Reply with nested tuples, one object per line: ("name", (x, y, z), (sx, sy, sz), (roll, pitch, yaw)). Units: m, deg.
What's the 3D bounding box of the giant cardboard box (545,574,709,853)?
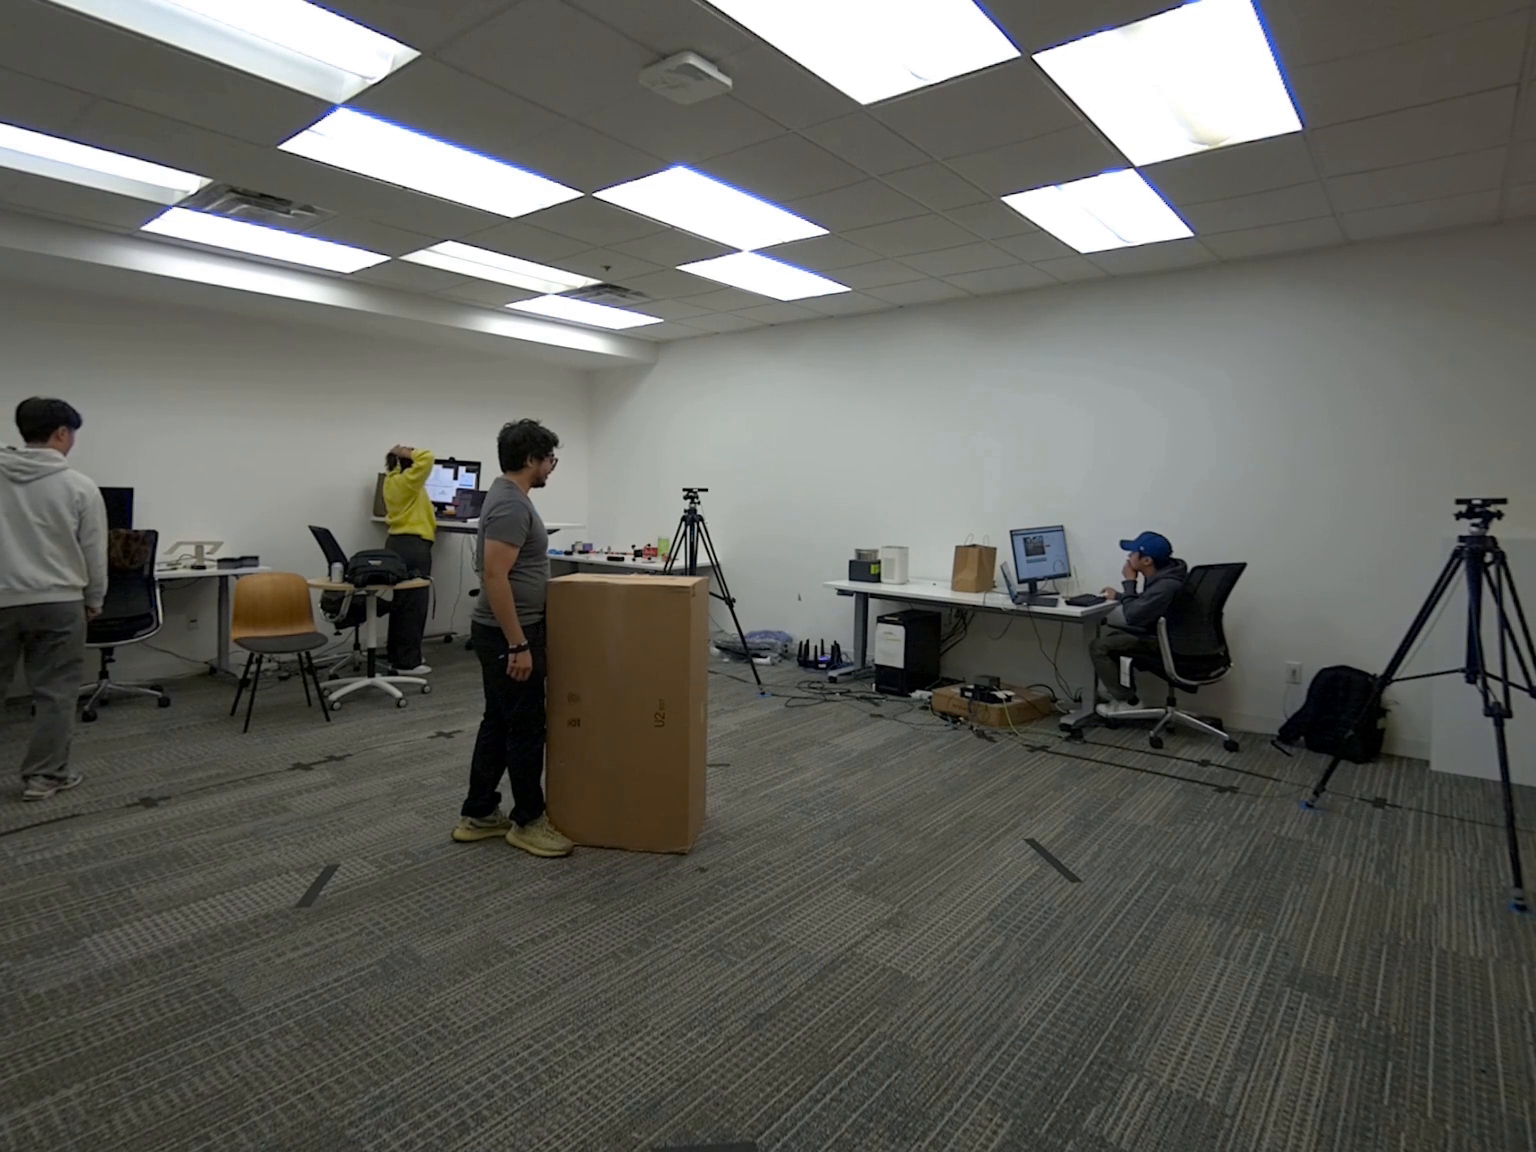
("giant cardboard box", (-0.568, 0.523, 3.462), (0.589, 1.025, 0.444), (1, 3, 7))
